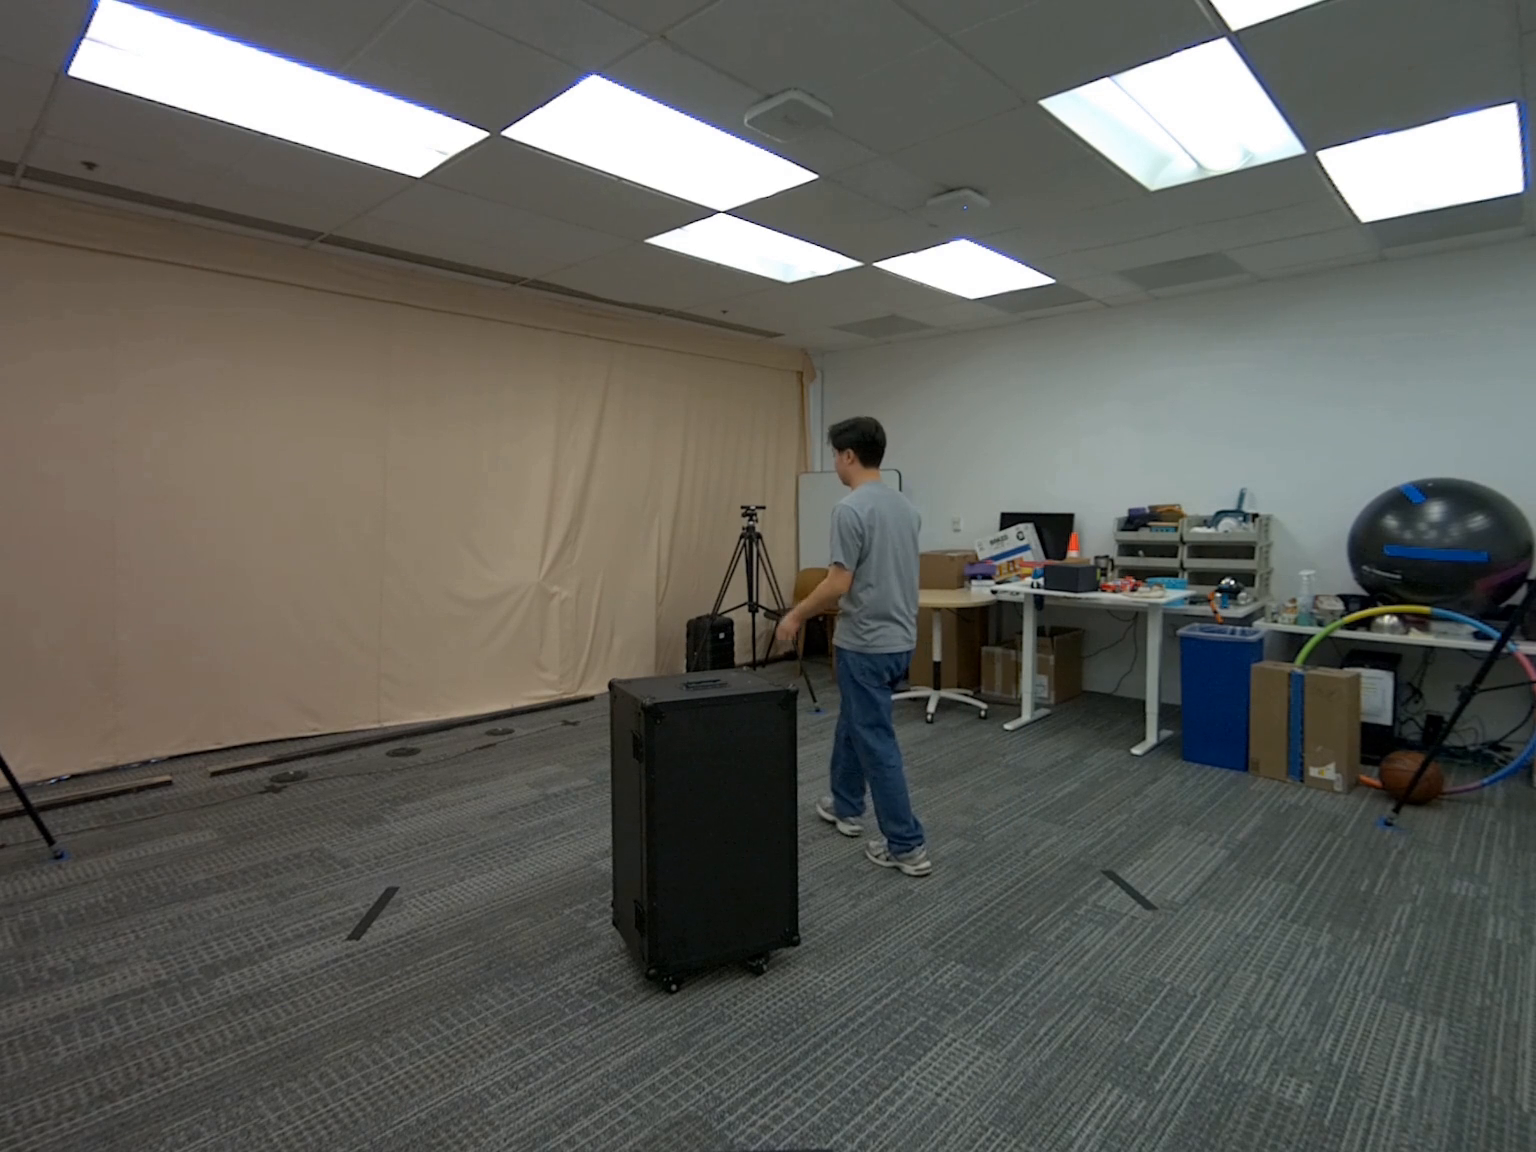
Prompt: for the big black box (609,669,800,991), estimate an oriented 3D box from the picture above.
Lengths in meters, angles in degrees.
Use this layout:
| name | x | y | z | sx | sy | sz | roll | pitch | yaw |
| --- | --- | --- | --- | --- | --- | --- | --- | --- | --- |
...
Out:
| name | x | y | z | sx | sy | sz | roll | pitch | yaw |
| --- | --- | --- | --- | --- | --- | --- | --- | --- | --- |
| big black box | -0.208 | 0.752 | 2.588 | 0.509 | 0.860 | 0.406 | -2 | 2 | -25 |
